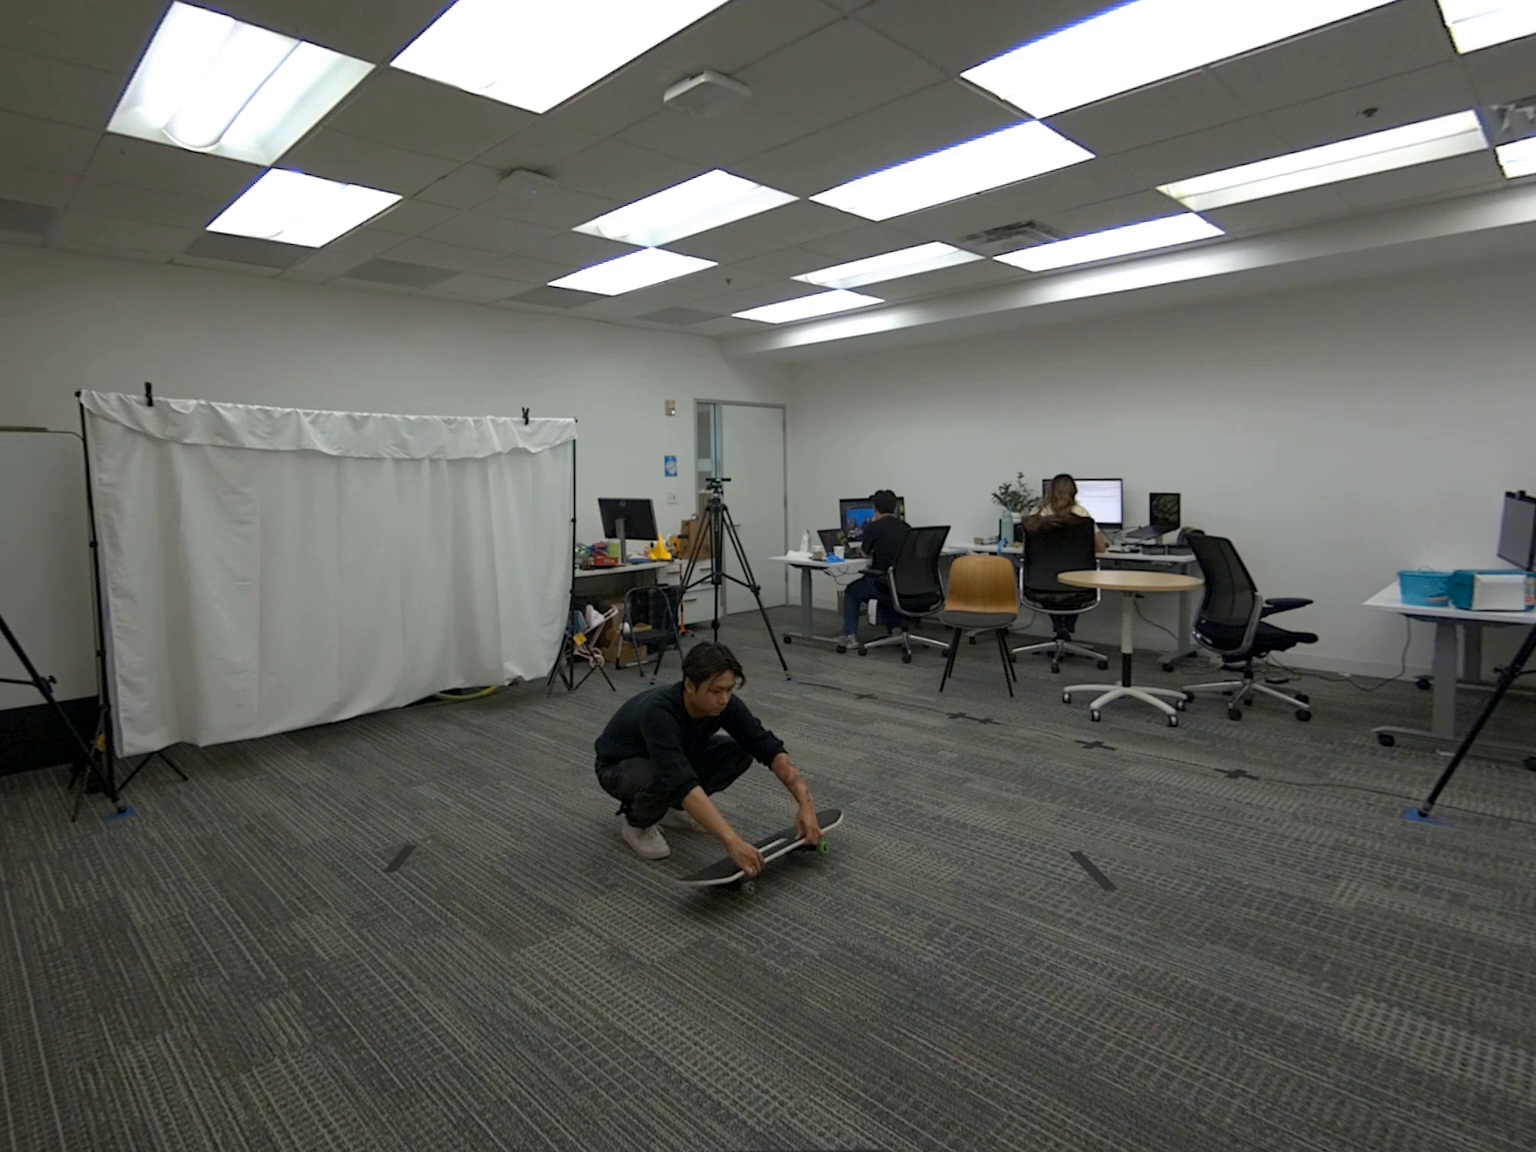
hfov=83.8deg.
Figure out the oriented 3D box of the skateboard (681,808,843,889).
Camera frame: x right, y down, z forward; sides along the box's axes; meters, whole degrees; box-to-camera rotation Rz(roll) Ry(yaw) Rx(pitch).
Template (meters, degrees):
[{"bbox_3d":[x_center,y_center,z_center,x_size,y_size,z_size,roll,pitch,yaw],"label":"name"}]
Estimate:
[{"bbox_3d":[0.009,0.972,2.973,0.197,0.111,0.765,-17,-6,42],"label":"skateboard"}]
